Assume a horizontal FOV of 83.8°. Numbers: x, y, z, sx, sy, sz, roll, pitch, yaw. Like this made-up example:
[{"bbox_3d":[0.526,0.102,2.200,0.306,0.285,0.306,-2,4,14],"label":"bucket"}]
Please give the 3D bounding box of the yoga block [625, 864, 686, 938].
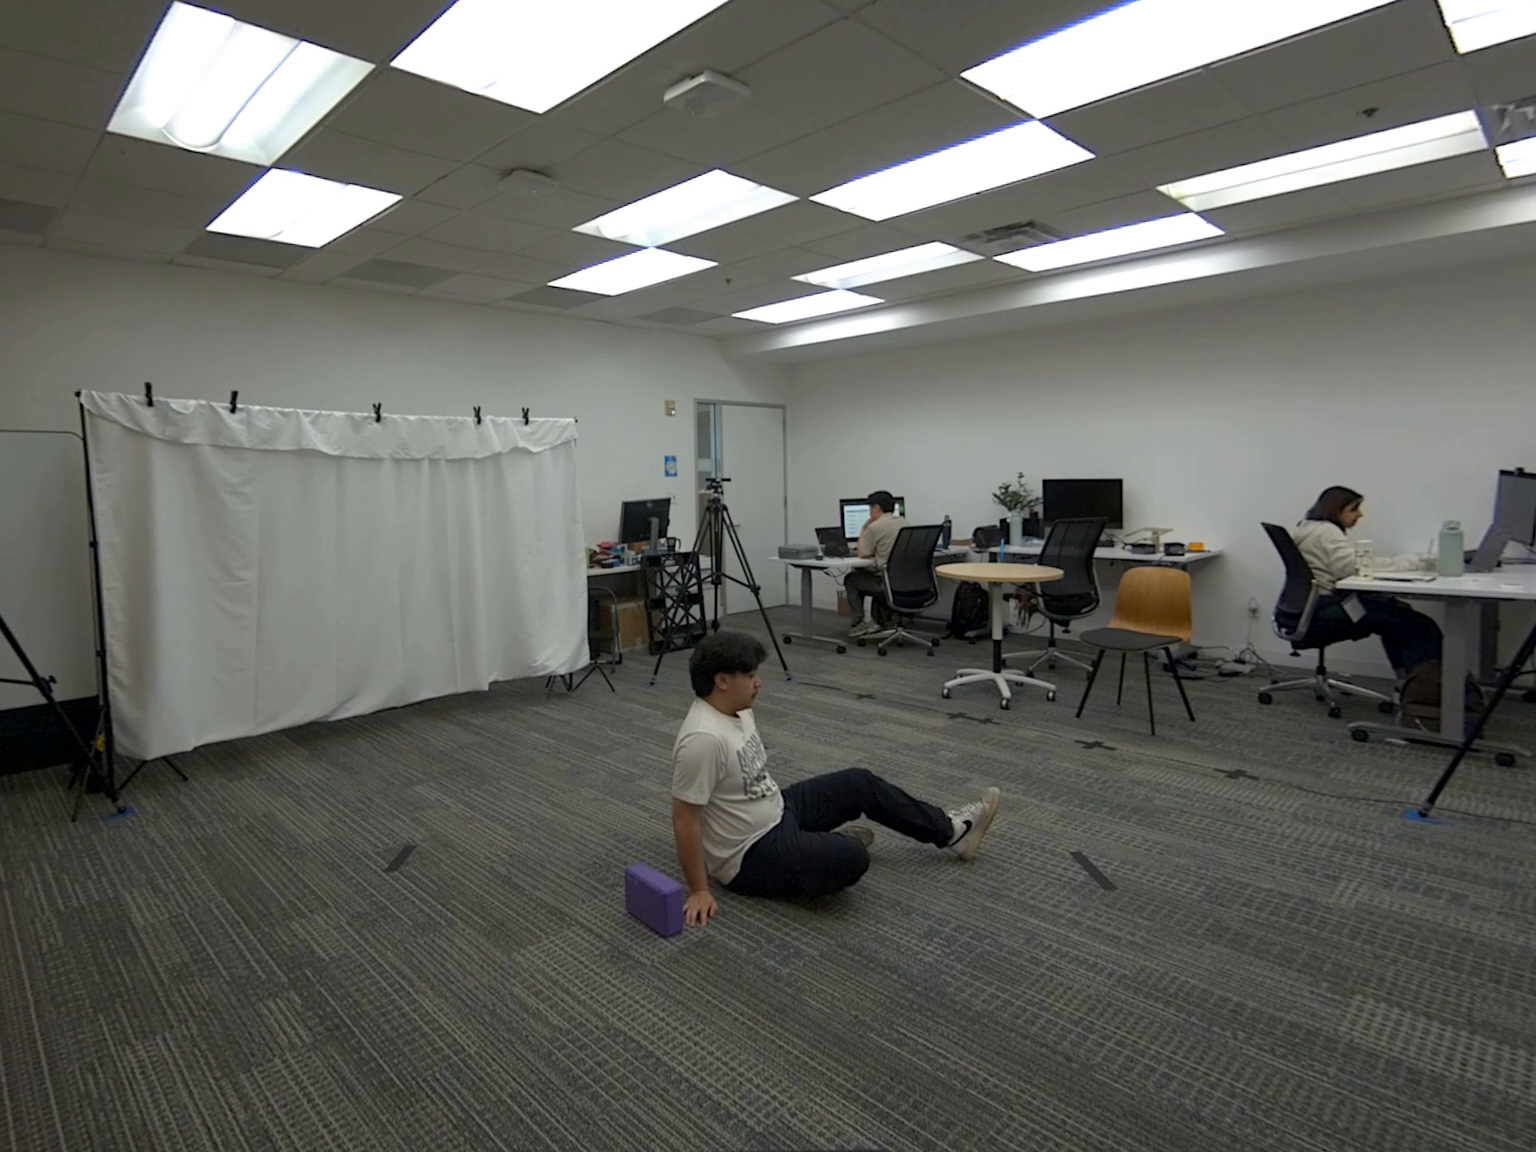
[{"bbox_3d":[-0.356,1.018,2.702,0.074,0.148,0.236,-7,9,-35],"label":"yoga block"}]
